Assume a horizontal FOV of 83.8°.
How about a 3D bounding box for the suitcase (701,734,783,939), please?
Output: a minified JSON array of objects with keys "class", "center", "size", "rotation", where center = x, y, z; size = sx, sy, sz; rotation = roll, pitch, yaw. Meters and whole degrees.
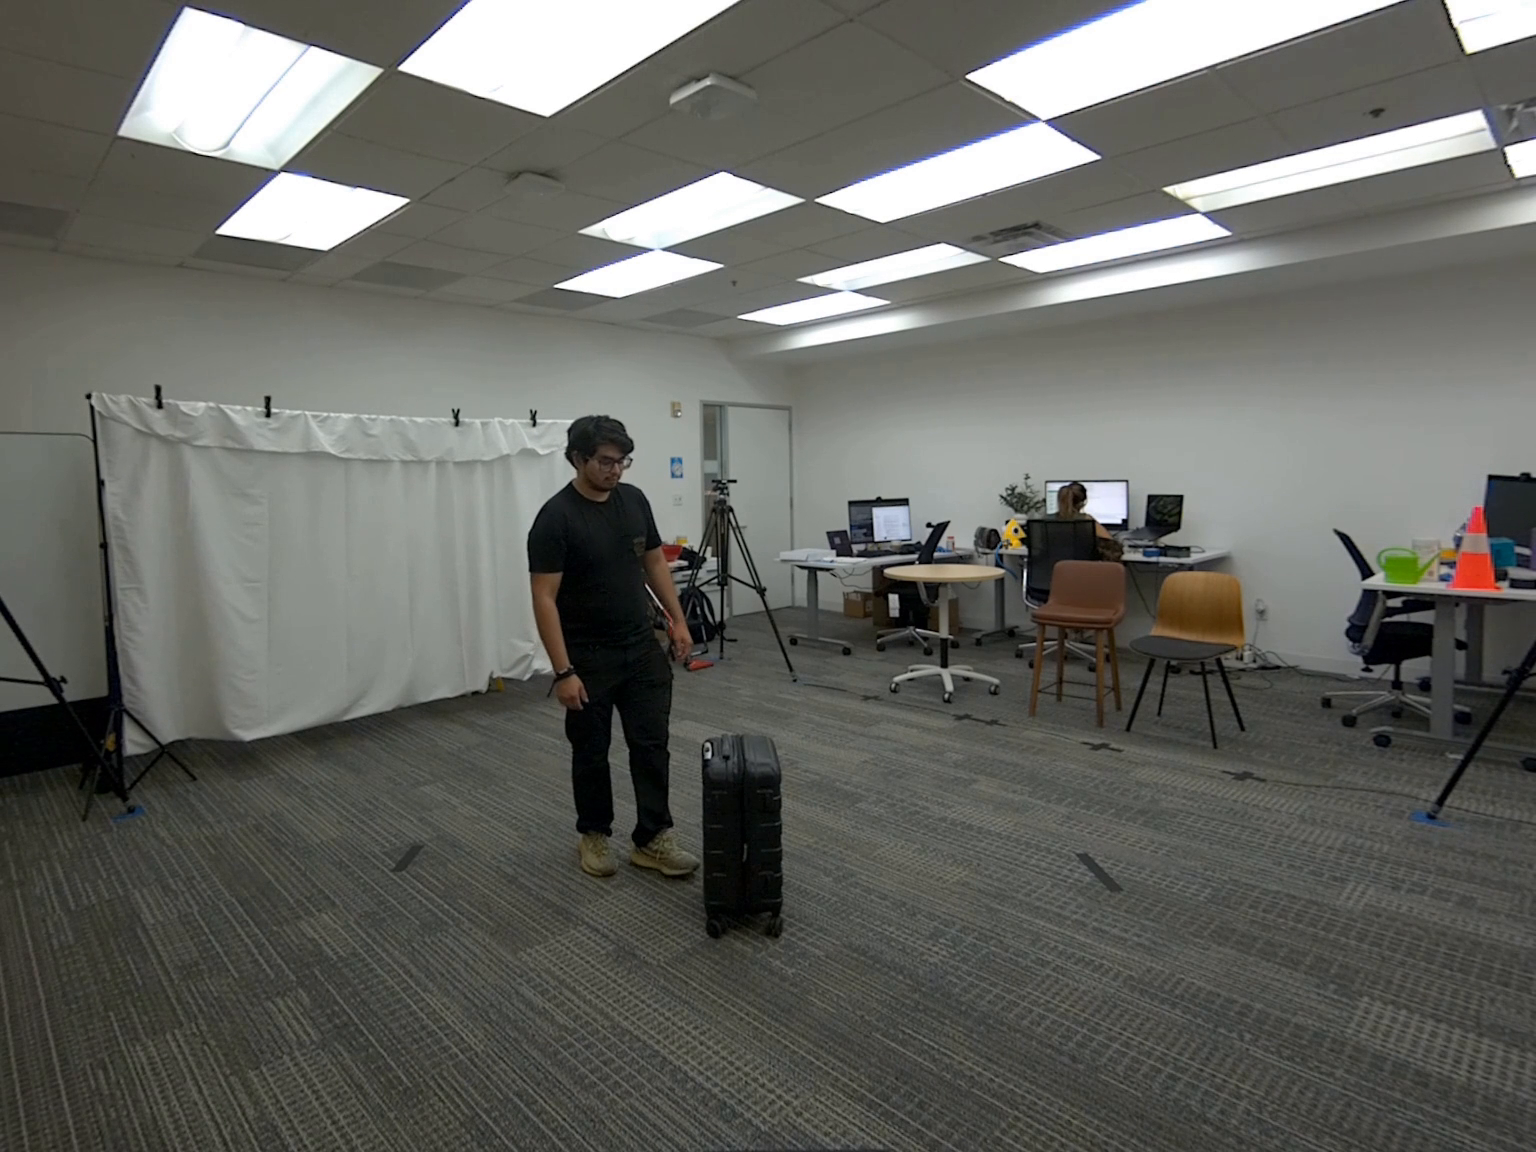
[{"class":"suitcase","center":[-0.090,0.810,2.767],"size":[0.247,0.548,0.378],"rotation":[-1,4,-5]}]
